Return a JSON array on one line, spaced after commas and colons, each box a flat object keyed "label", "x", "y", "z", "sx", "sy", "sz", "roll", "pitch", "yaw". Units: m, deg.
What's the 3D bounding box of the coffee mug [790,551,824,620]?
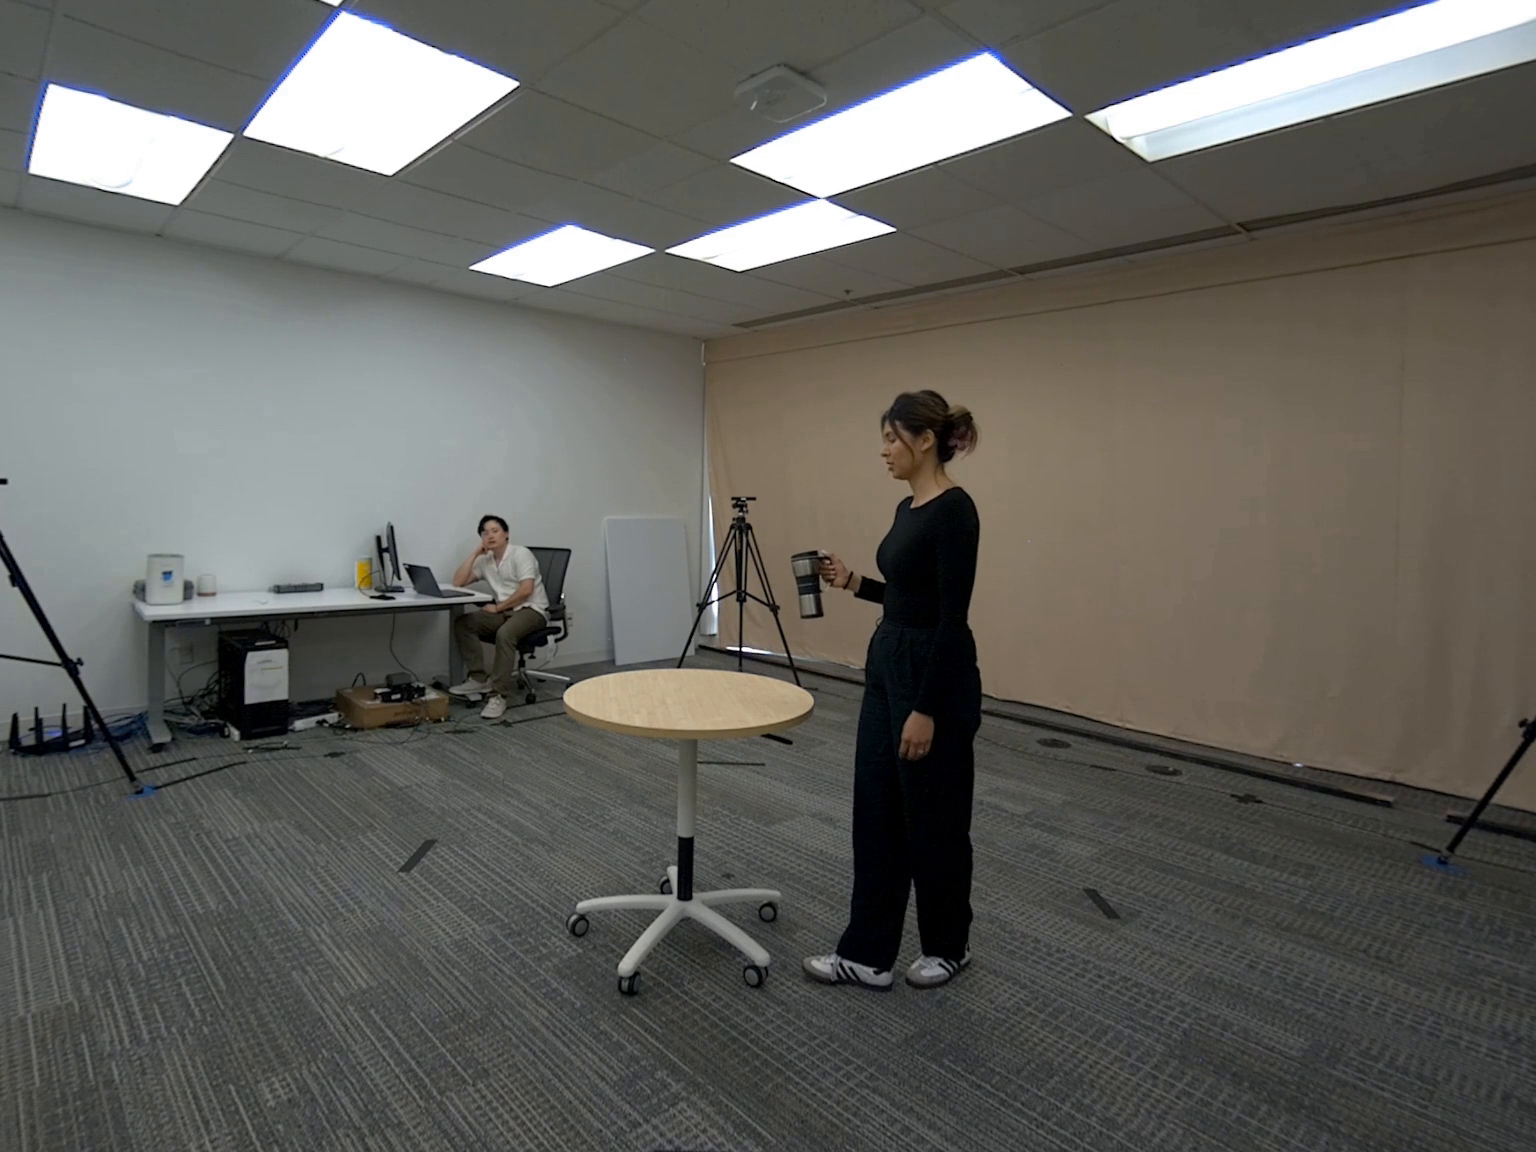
[{"label": "coffee mug", "x": 0.140, "y": 0.026, "z": 2.606, "sx": 0.121, "sy": 0.204, "sz": 0.088, "roll": -10, "pitch": -6, "yaw": -5}]
